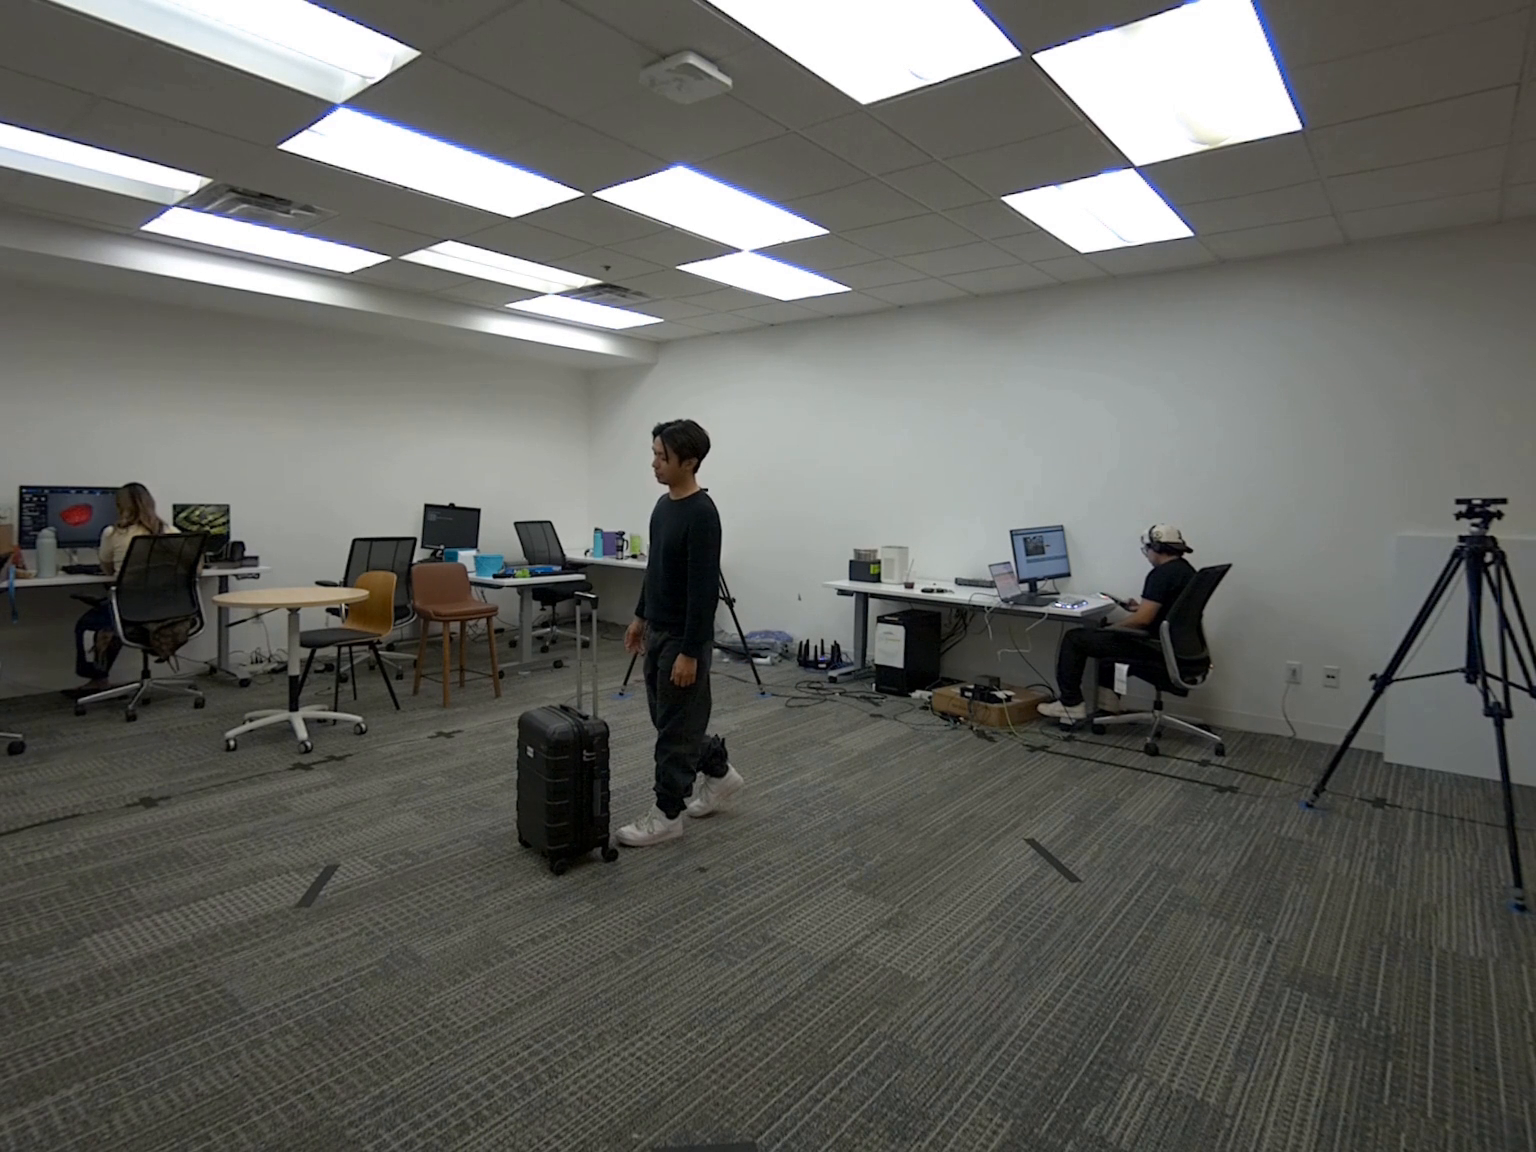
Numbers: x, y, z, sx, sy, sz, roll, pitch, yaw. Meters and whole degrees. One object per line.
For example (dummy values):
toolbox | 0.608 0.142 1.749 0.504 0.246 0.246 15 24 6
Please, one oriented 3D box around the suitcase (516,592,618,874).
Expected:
suitcase | -0.794 0.577 3.185 0.250 0.975 0.396 -4 5 -34
